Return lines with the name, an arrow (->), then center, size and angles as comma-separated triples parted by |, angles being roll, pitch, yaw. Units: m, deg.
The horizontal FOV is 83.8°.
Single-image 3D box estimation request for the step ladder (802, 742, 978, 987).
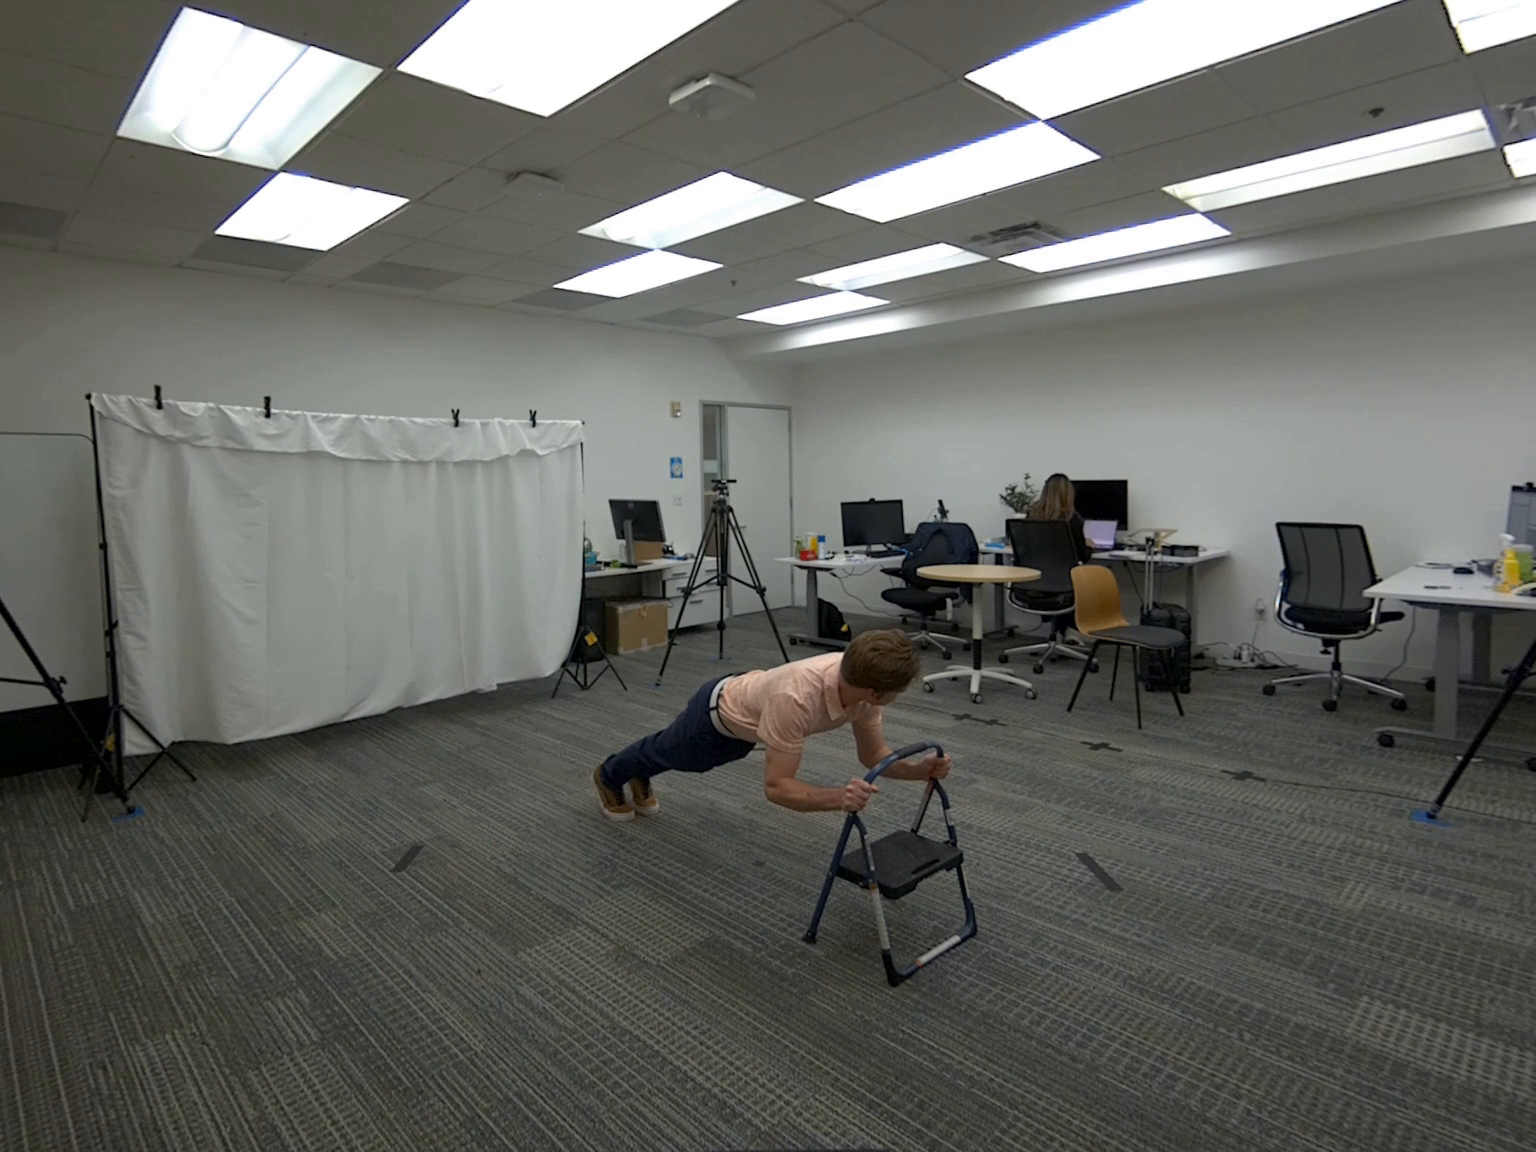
step ladder -> 0.376, 0.800, 2.579 | 0.419, 0.604, 0.360 | -5, 6, -44
